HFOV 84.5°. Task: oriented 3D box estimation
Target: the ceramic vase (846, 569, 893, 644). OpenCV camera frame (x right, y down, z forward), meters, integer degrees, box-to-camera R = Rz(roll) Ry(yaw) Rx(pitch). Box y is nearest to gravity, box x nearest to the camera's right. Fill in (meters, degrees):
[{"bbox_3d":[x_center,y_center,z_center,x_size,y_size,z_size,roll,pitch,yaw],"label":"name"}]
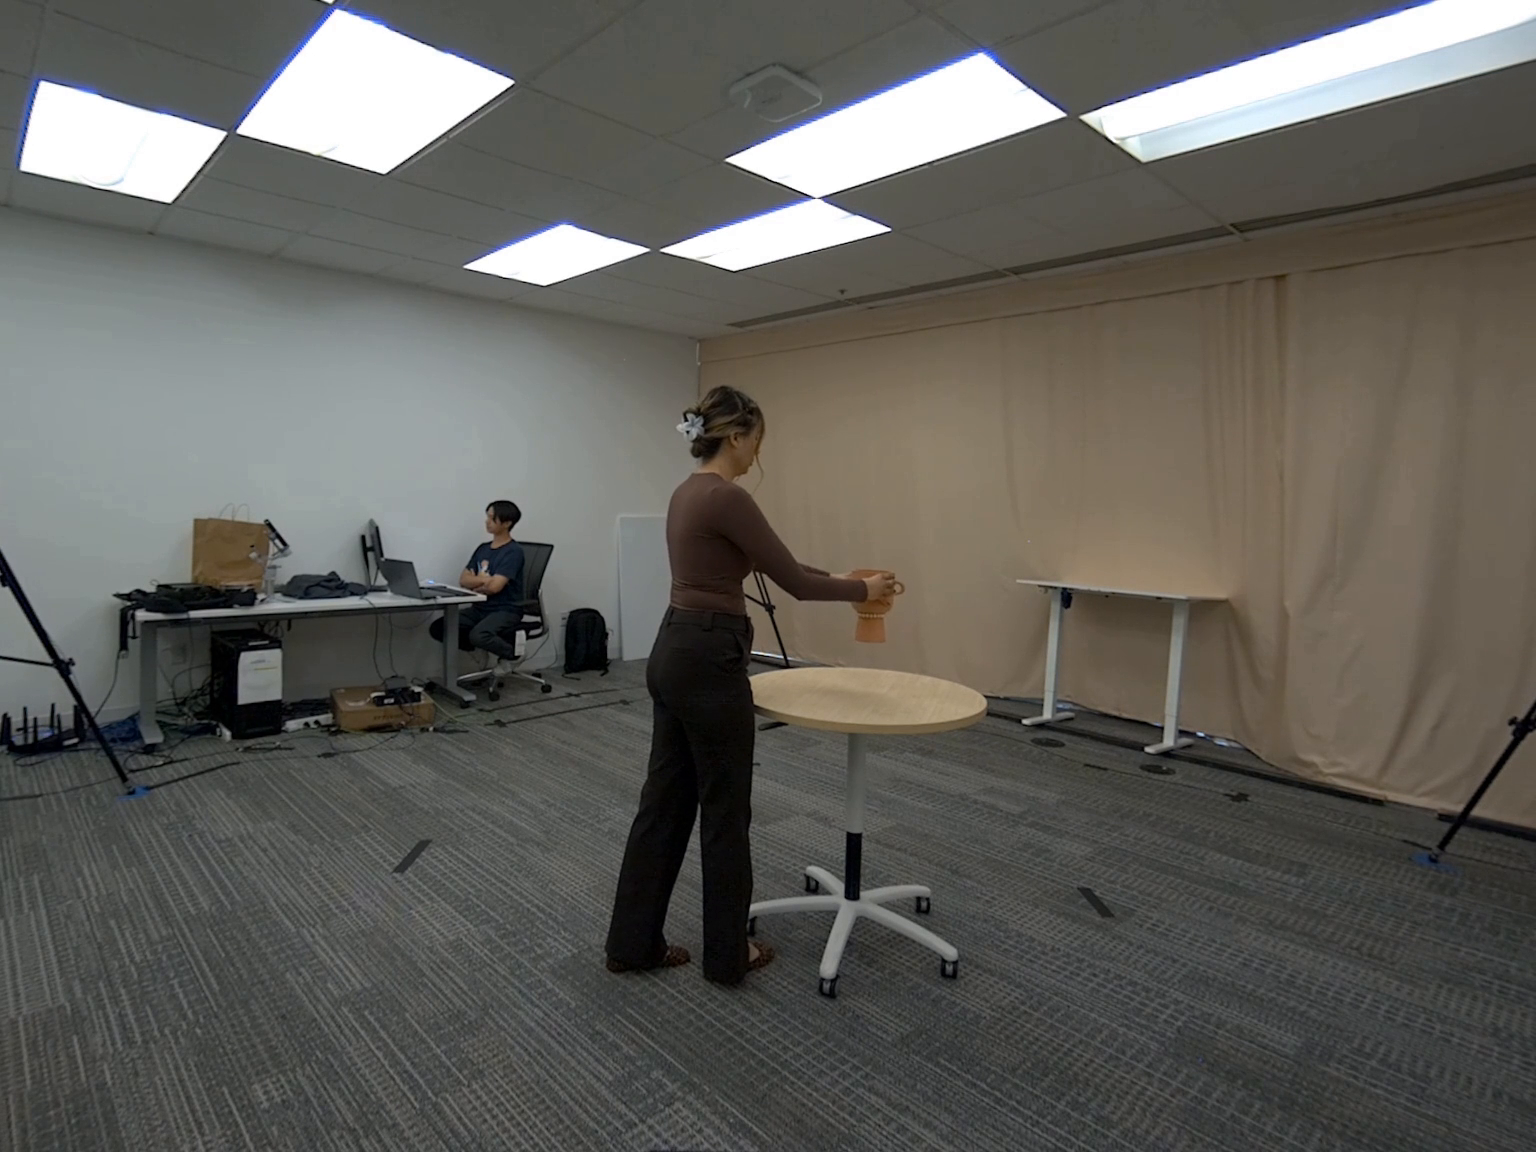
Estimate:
[{"bbox_3d":[0.327,0.098,2.618,0.163,0.219,0.131,7,4,40],"label":"ceramic vase"}]
